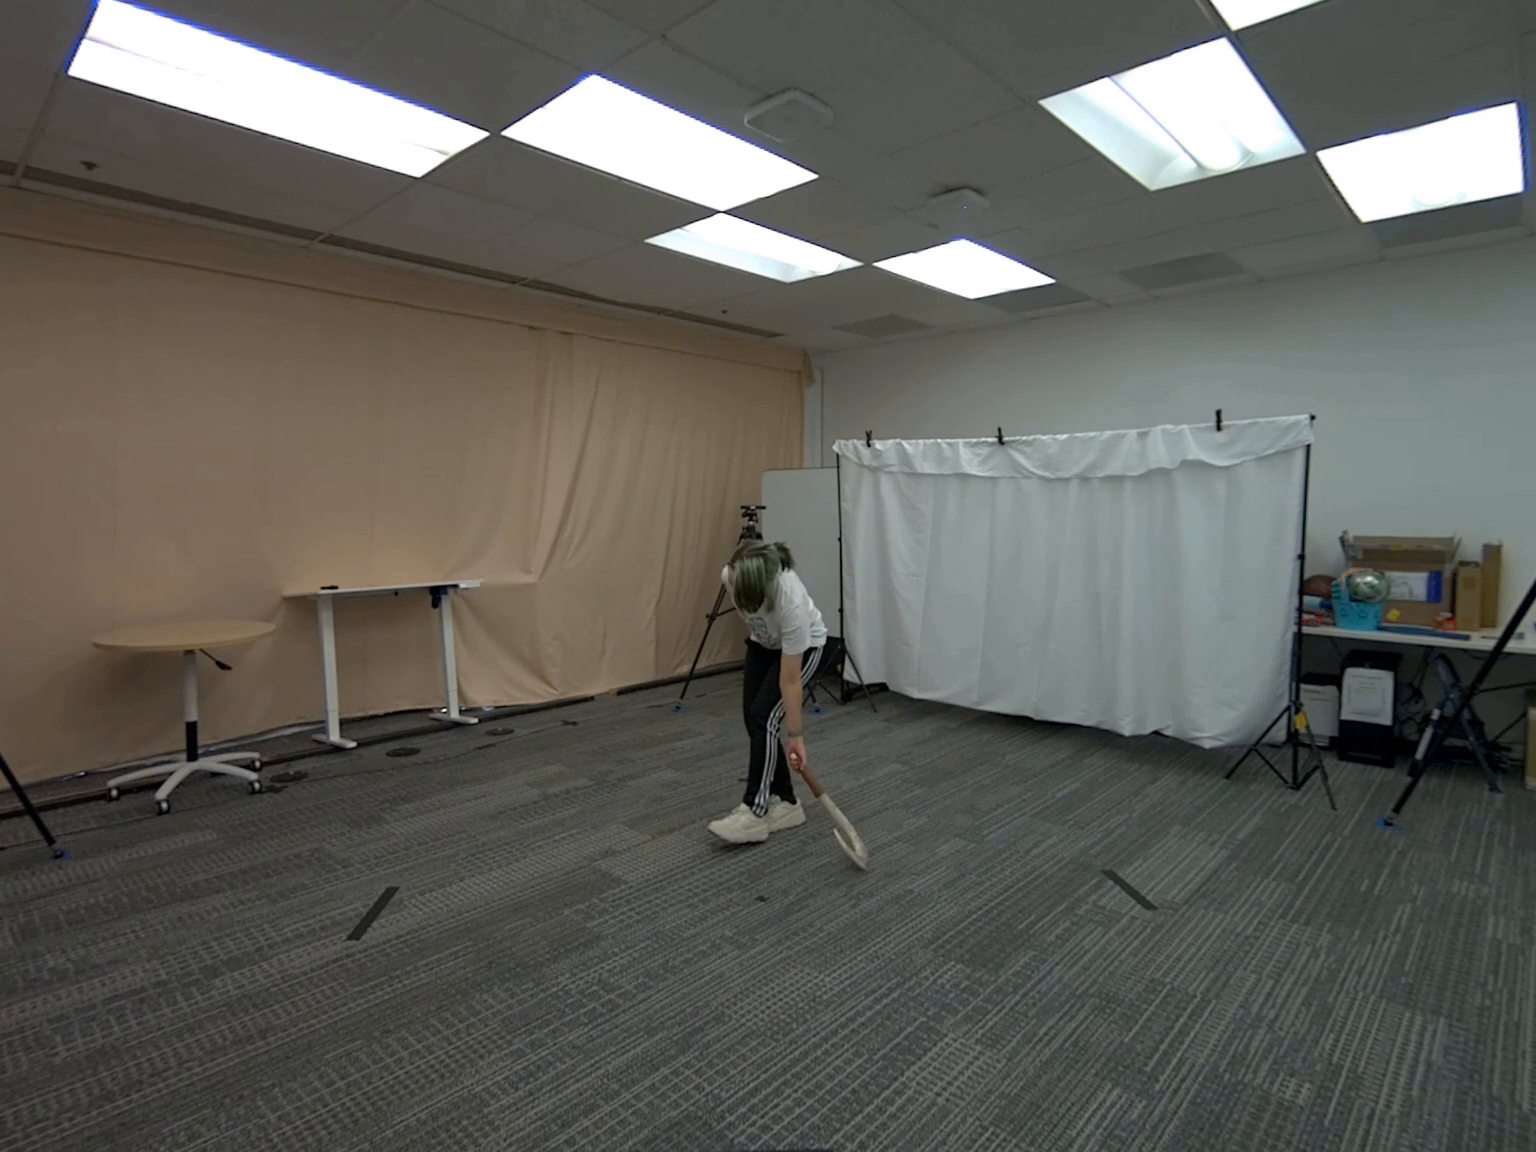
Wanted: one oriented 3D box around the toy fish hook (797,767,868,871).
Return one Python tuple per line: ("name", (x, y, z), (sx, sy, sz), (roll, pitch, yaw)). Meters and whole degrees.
("toy fish hook", (0.238, 0.913, 3.279), (0.048, 0.511, 0.221), (-38, -8, 8))
